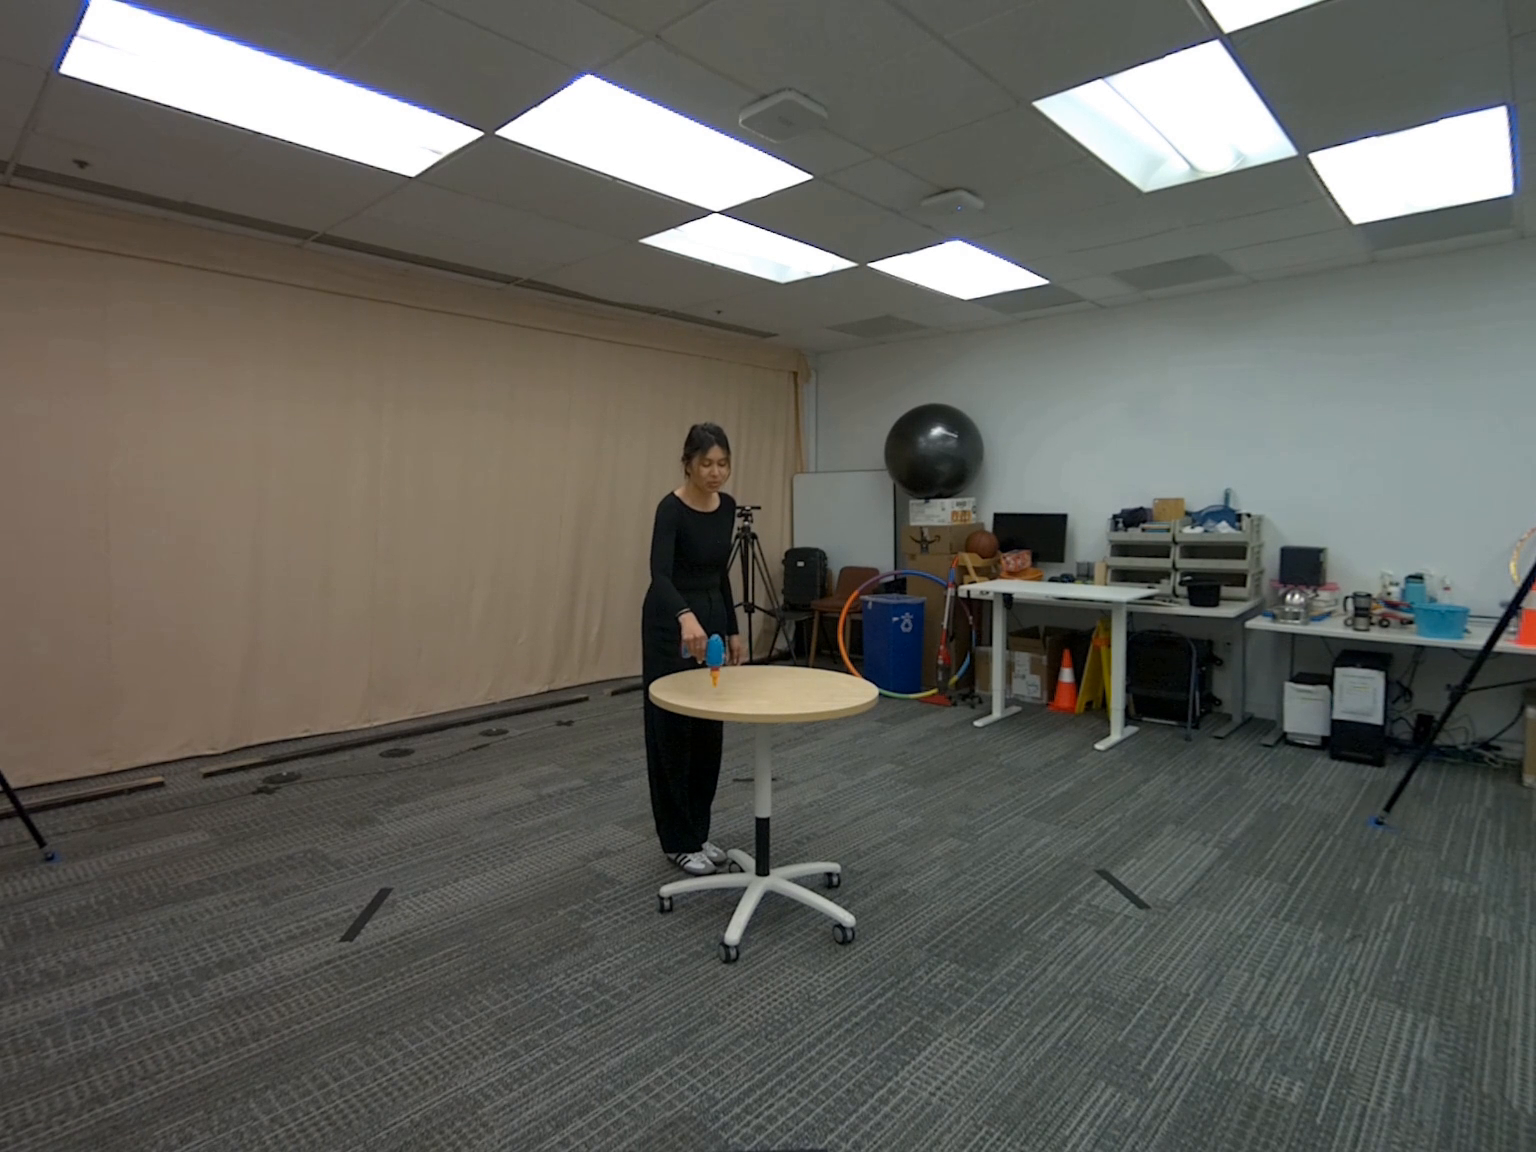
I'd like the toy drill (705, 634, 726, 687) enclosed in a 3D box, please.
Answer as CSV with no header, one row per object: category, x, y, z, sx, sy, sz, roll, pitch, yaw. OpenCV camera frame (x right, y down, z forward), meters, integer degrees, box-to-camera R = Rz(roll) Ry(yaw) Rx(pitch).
toy drill,-0.196,0.268,2.699,0.150,0.169,0.059,2,3,27
